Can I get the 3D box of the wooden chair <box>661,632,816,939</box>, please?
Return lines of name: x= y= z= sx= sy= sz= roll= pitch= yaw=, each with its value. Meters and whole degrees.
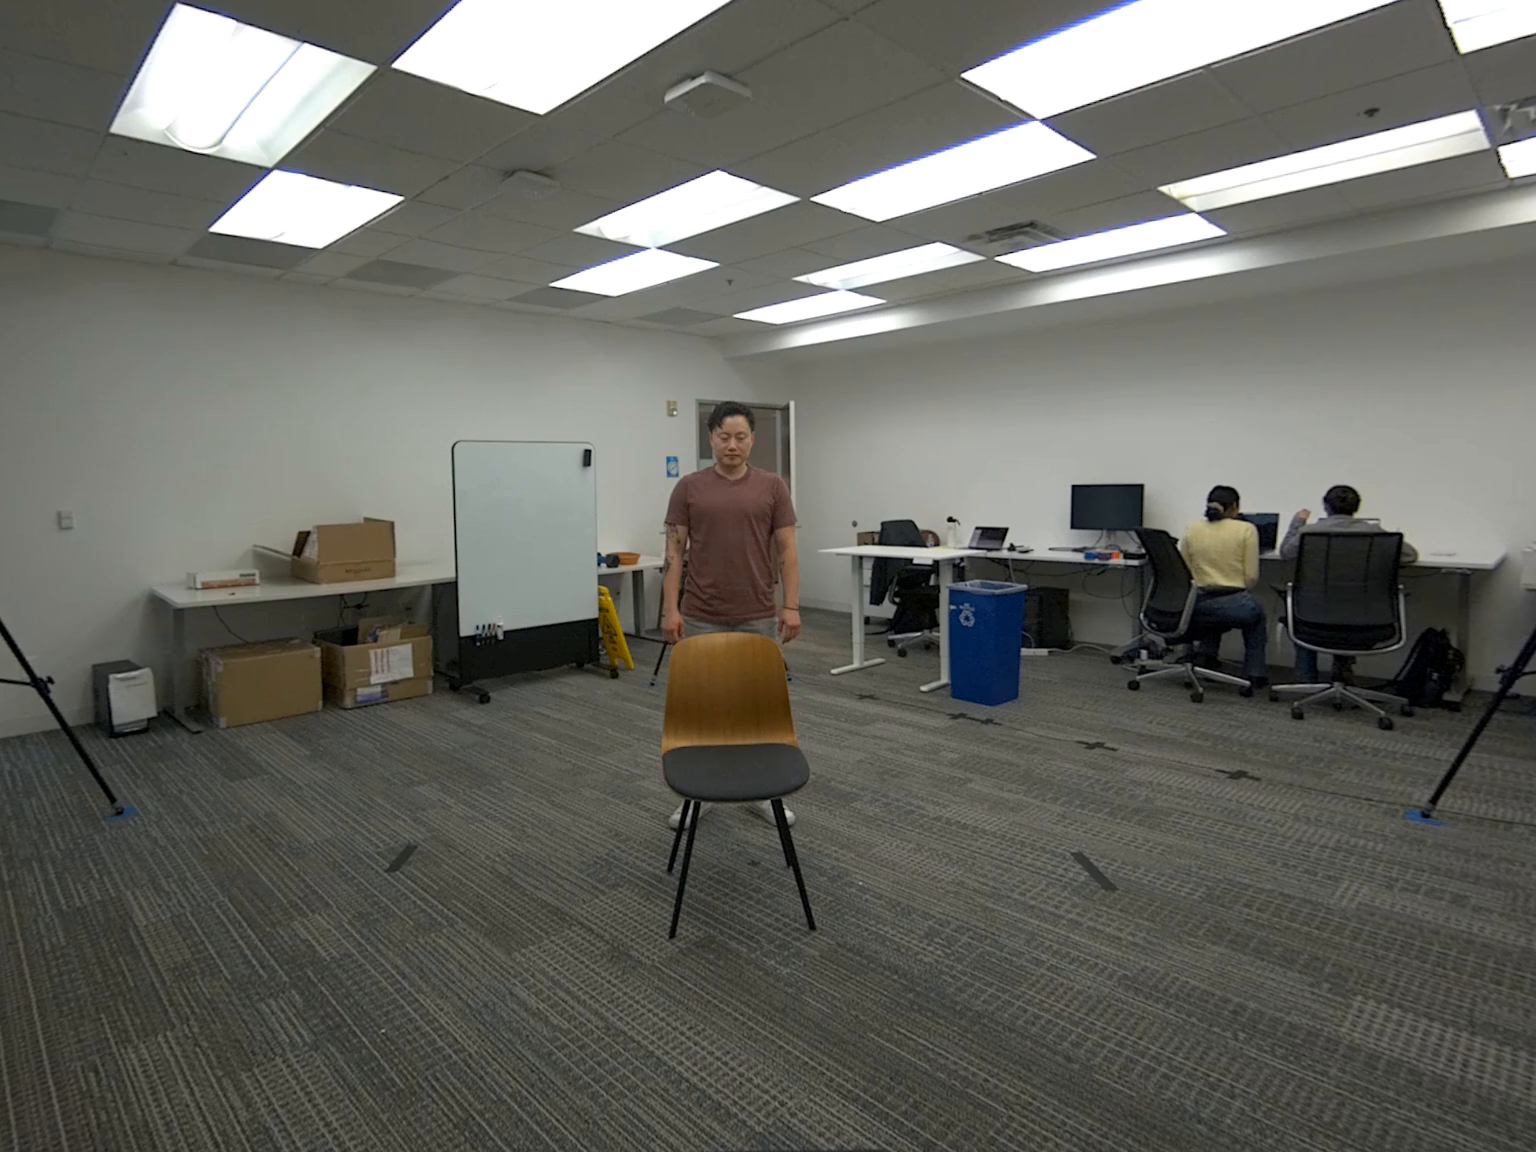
wooden chair: x=-0.110 y=0.653 z=2.798 sx=0.475 sy=0.877 sz=0.526 roll=0 pitch=0 yaw=-7
